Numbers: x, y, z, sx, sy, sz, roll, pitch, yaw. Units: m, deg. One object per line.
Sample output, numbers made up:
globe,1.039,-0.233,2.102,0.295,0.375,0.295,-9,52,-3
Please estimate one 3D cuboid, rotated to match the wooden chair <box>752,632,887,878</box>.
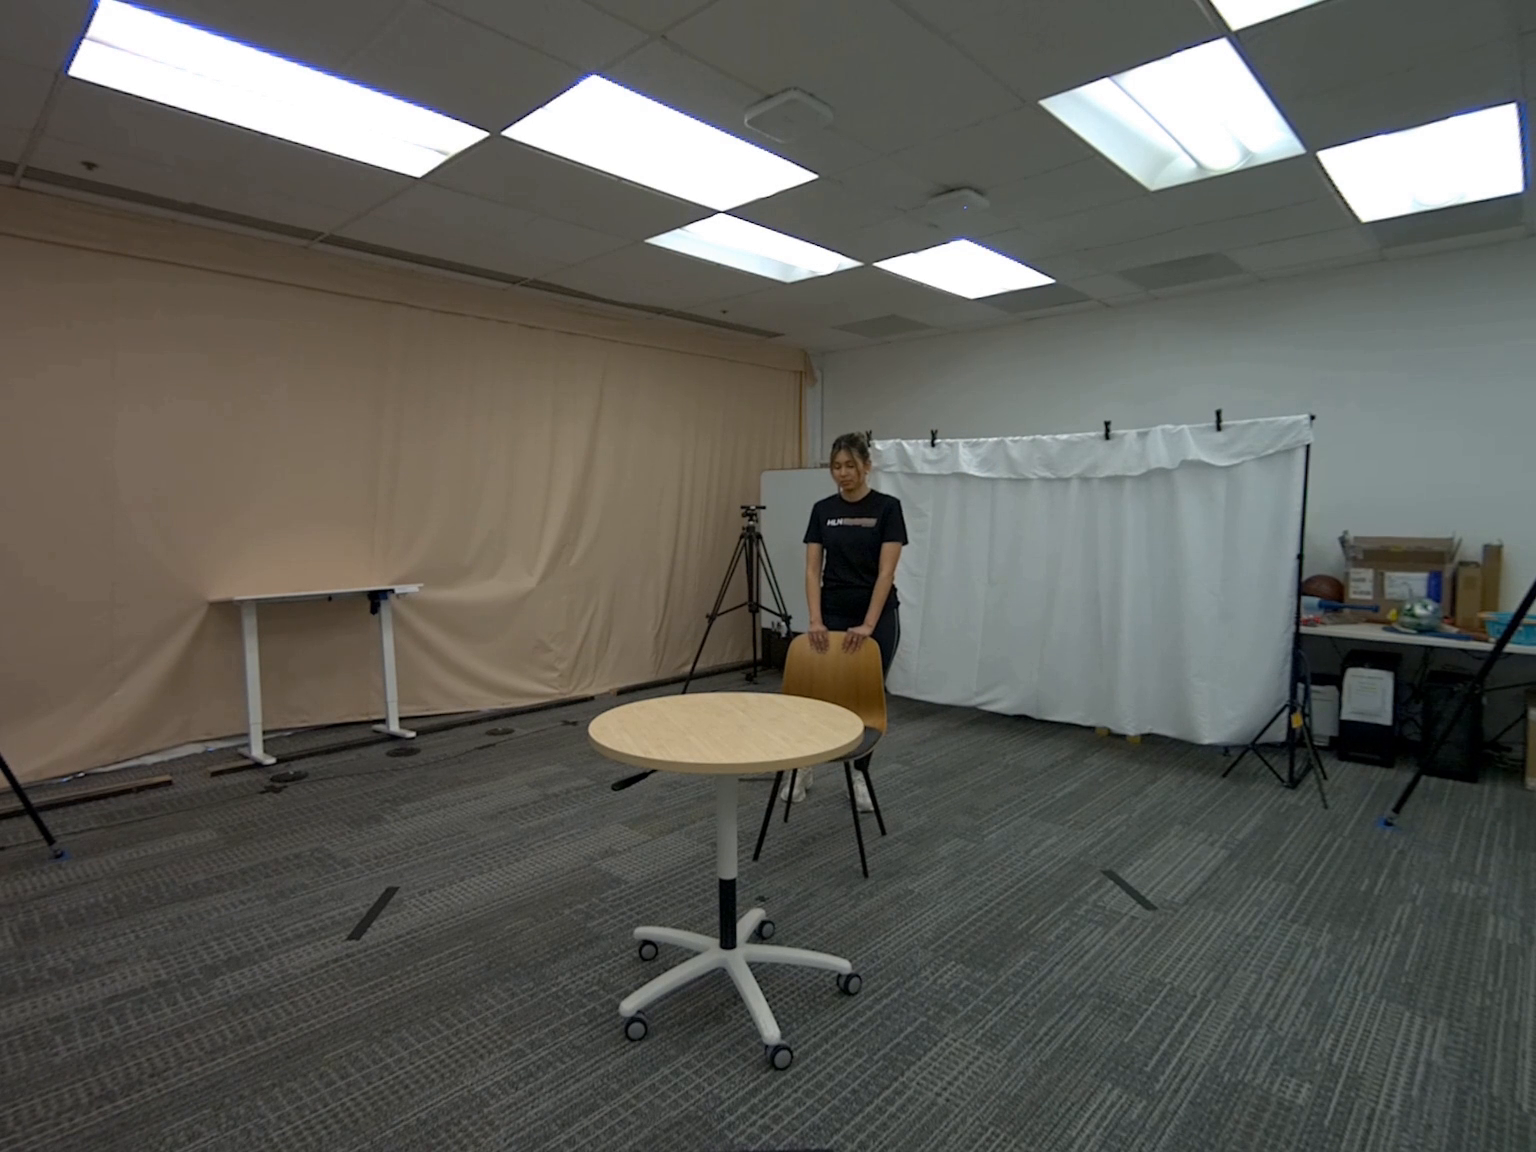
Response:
wooden chair,0.219,0.679,3.392,0.488,0.878,0.512,1,-1,19
